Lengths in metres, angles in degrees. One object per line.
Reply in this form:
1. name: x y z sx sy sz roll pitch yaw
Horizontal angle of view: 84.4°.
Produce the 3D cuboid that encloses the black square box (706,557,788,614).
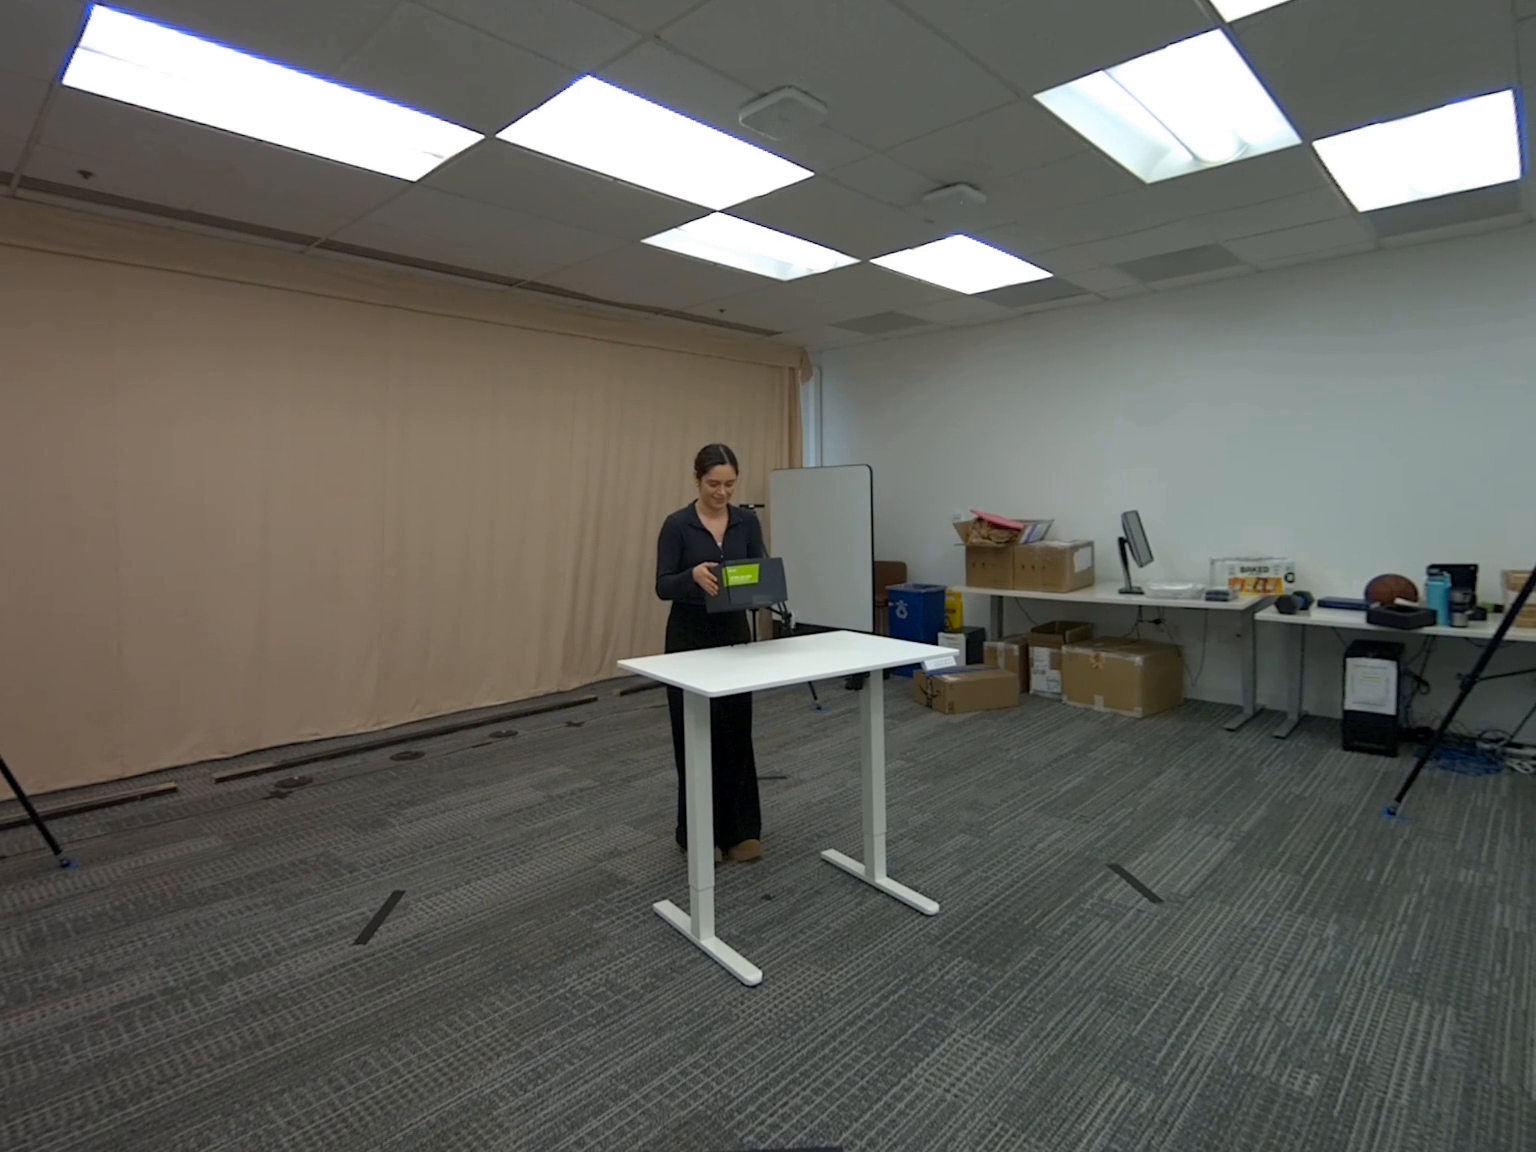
1. black square box: -0.083 0.035 3.022 0.223 0.157 0.221 -4 -7 -25
